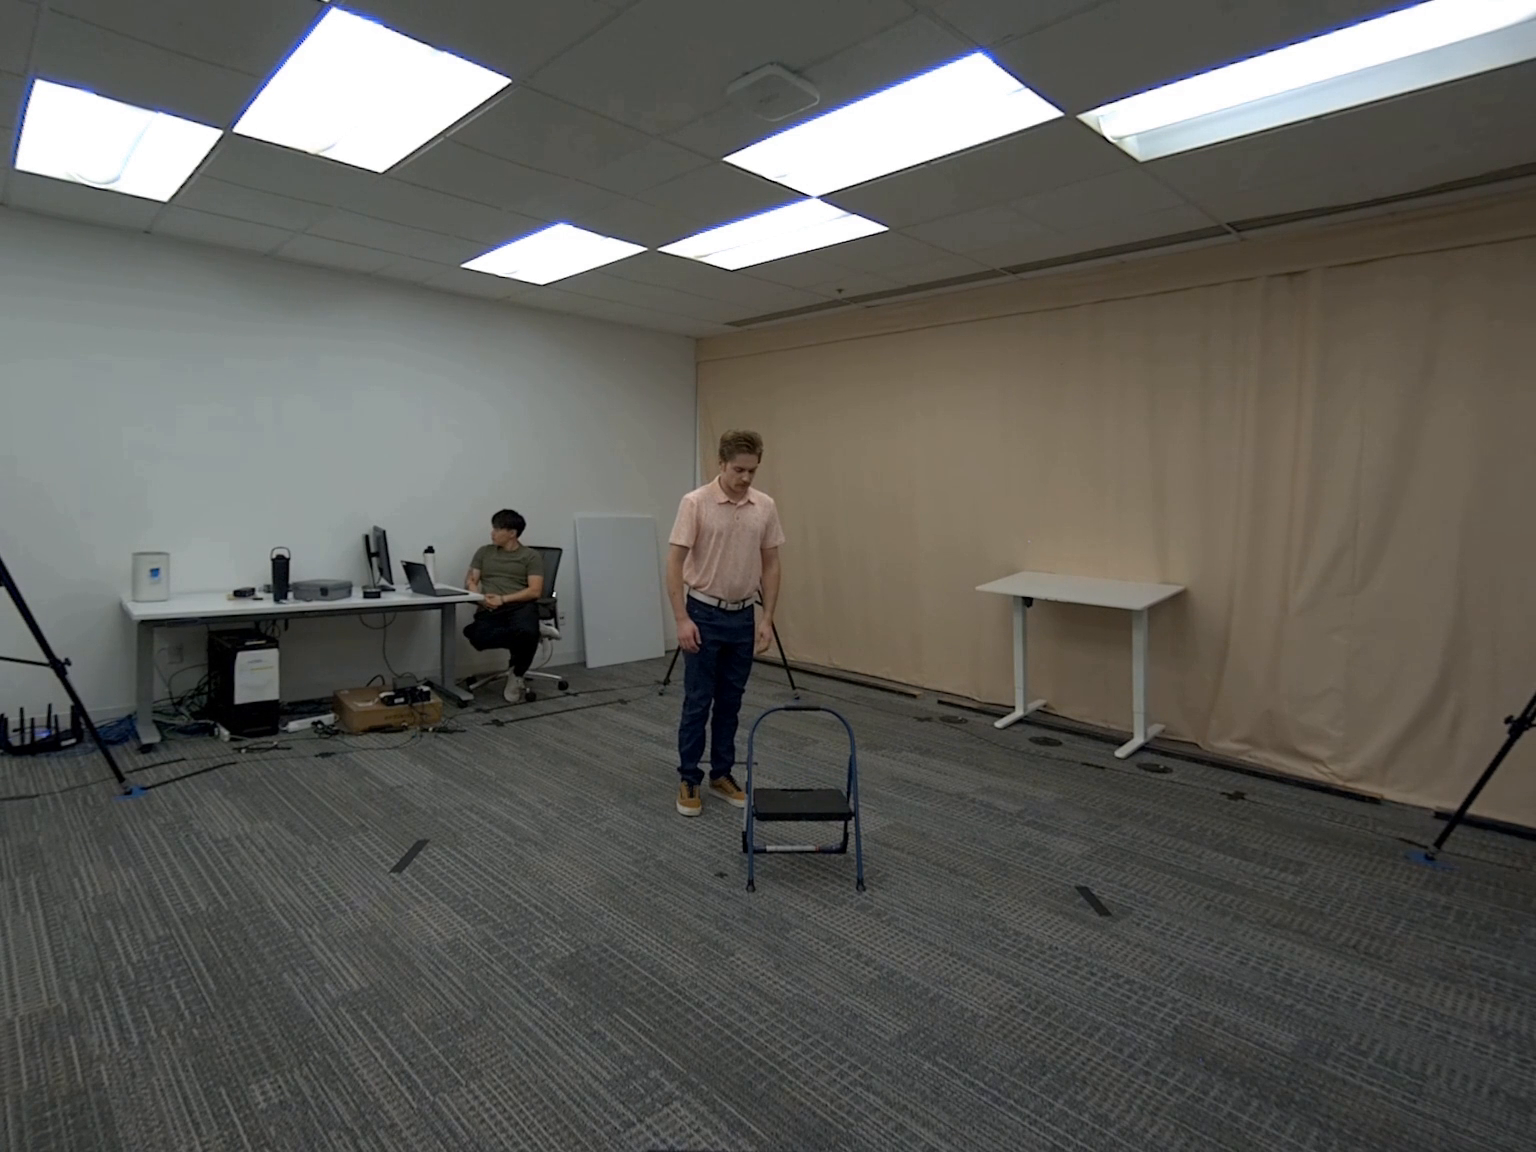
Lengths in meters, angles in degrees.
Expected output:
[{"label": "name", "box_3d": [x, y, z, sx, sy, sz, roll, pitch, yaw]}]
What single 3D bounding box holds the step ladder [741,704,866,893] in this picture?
[{"label": "step ladder", "box_3d": [0.123, 0.804, 3.149, 0.429, 0.605, 0.351, 2, 3, -5]}]
